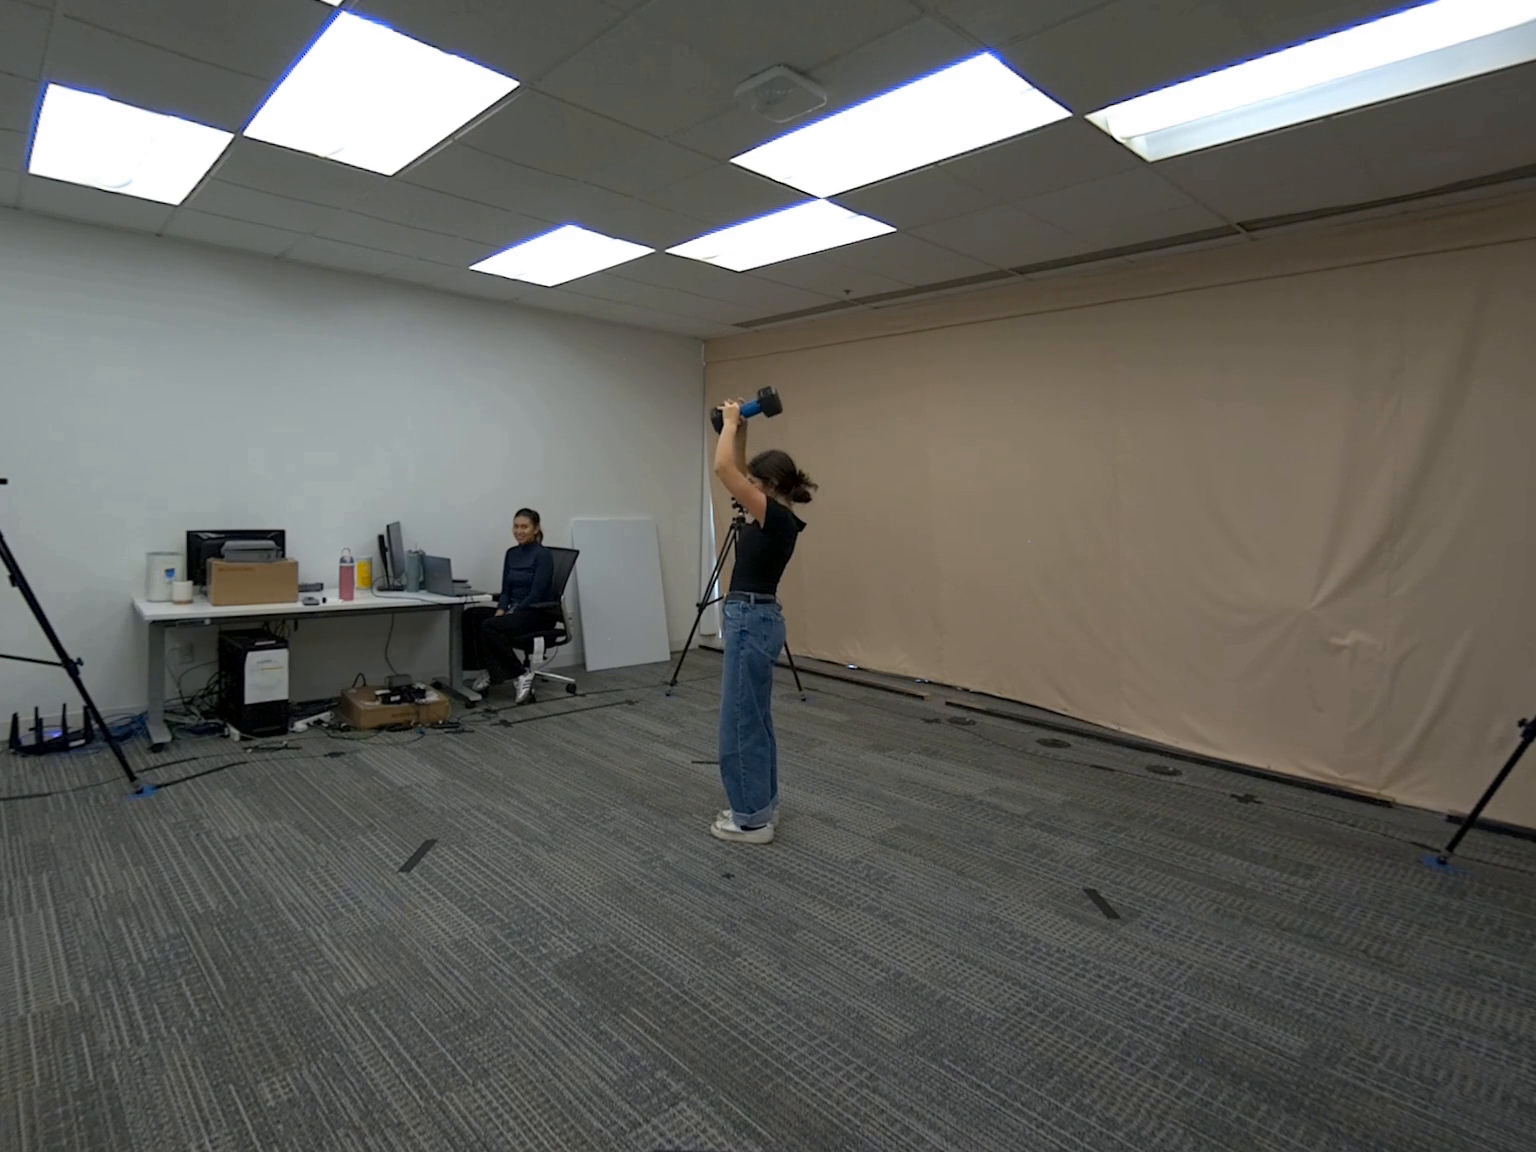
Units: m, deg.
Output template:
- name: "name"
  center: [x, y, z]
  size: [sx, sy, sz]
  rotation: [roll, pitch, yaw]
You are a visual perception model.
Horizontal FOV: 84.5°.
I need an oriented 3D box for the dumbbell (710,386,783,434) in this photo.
- name: "dumbbell"
  center: [-0.100, -0.682, 3.495]
  size: [0.295, 0.121, 0.110]
  rotation: [-21, 15, 10]
